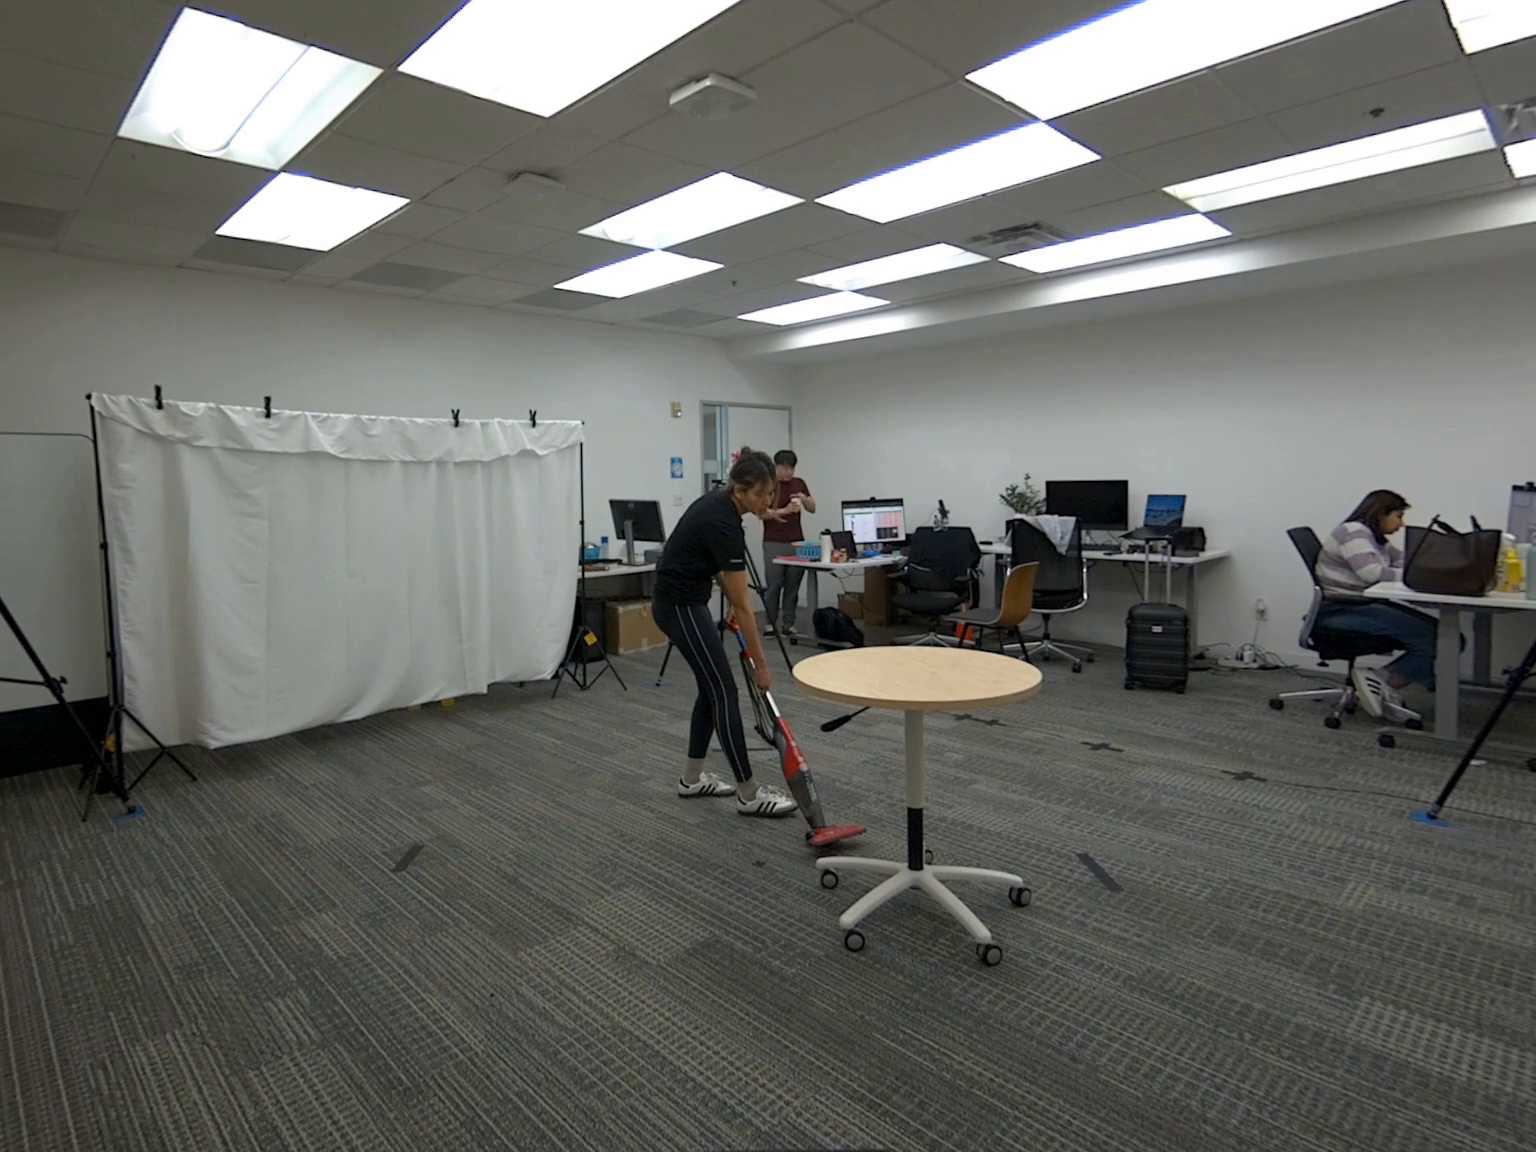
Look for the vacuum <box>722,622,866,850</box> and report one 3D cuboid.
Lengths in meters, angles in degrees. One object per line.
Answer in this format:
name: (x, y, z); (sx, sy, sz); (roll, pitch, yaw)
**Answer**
vacuum: (0.038, 0.614, 3.534); (0.245, 0.143, 1.087); (1, 46, -35)
